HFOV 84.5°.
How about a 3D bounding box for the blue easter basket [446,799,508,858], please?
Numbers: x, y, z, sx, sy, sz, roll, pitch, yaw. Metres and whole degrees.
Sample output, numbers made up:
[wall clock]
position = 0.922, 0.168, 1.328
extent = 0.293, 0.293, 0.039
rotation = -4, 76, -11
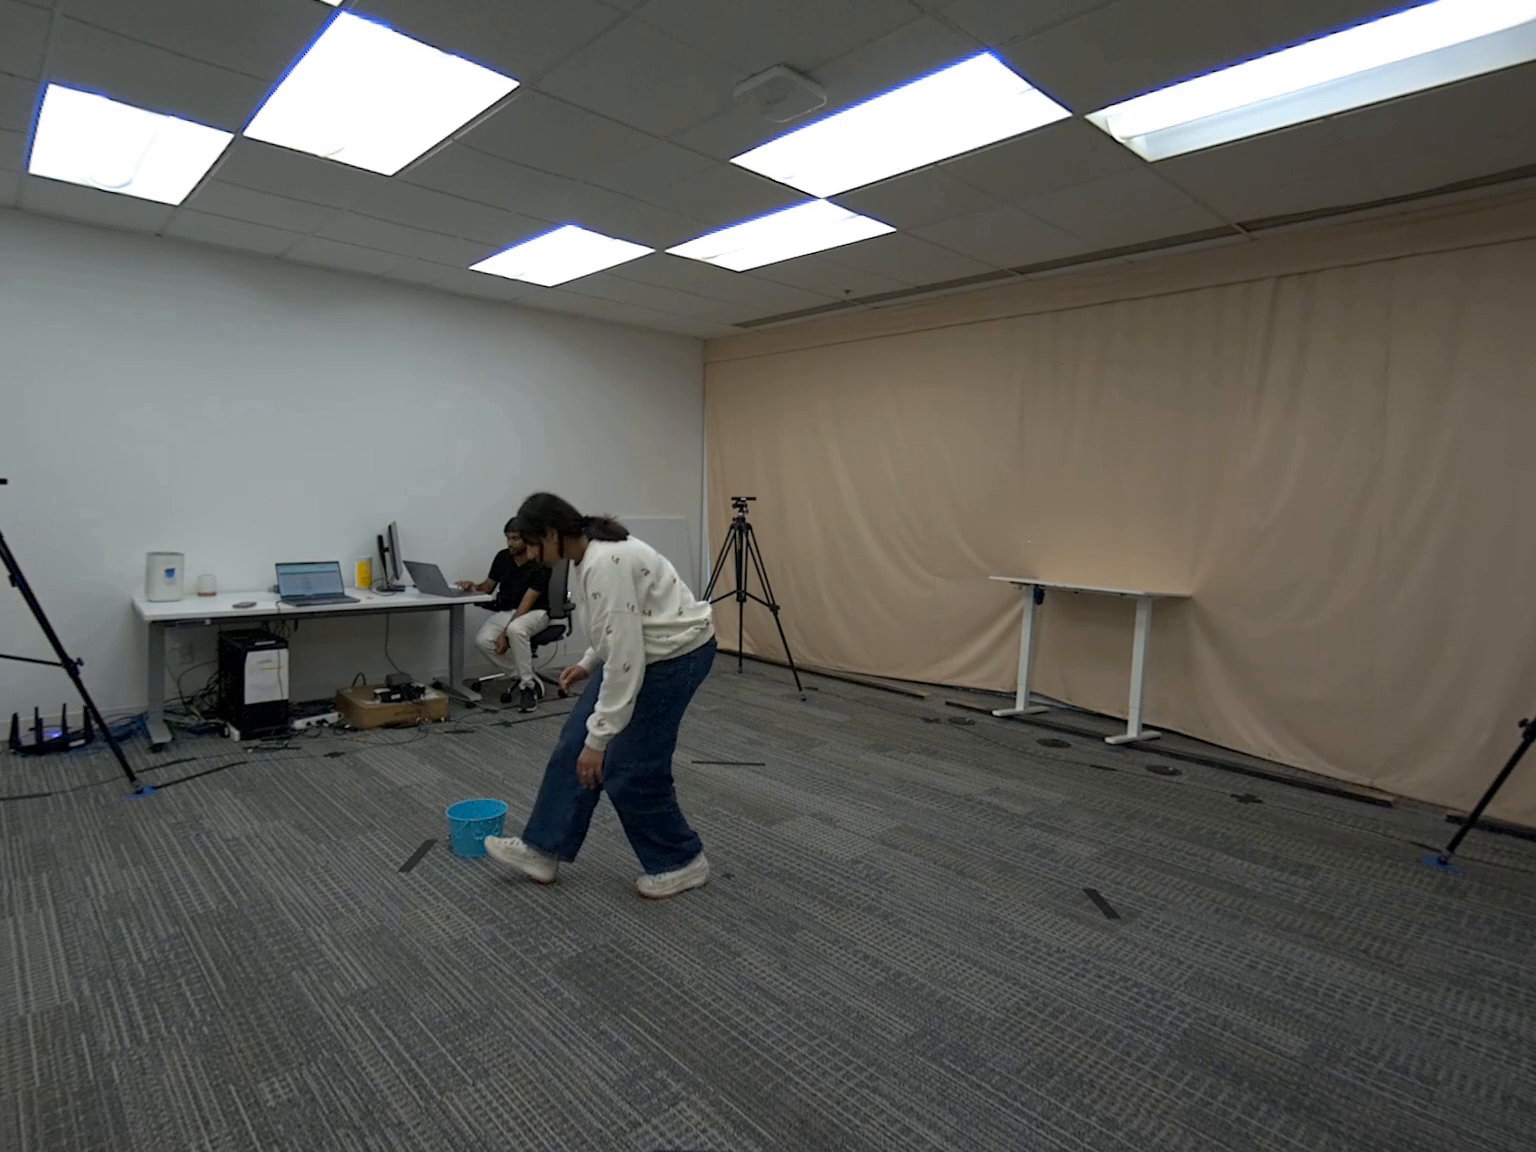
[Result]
[blue easter basket]
position = -1.154, 0.989, 3.310
extent = 0.243, 0.155, 0.244
rotation = 2, 5, -2
